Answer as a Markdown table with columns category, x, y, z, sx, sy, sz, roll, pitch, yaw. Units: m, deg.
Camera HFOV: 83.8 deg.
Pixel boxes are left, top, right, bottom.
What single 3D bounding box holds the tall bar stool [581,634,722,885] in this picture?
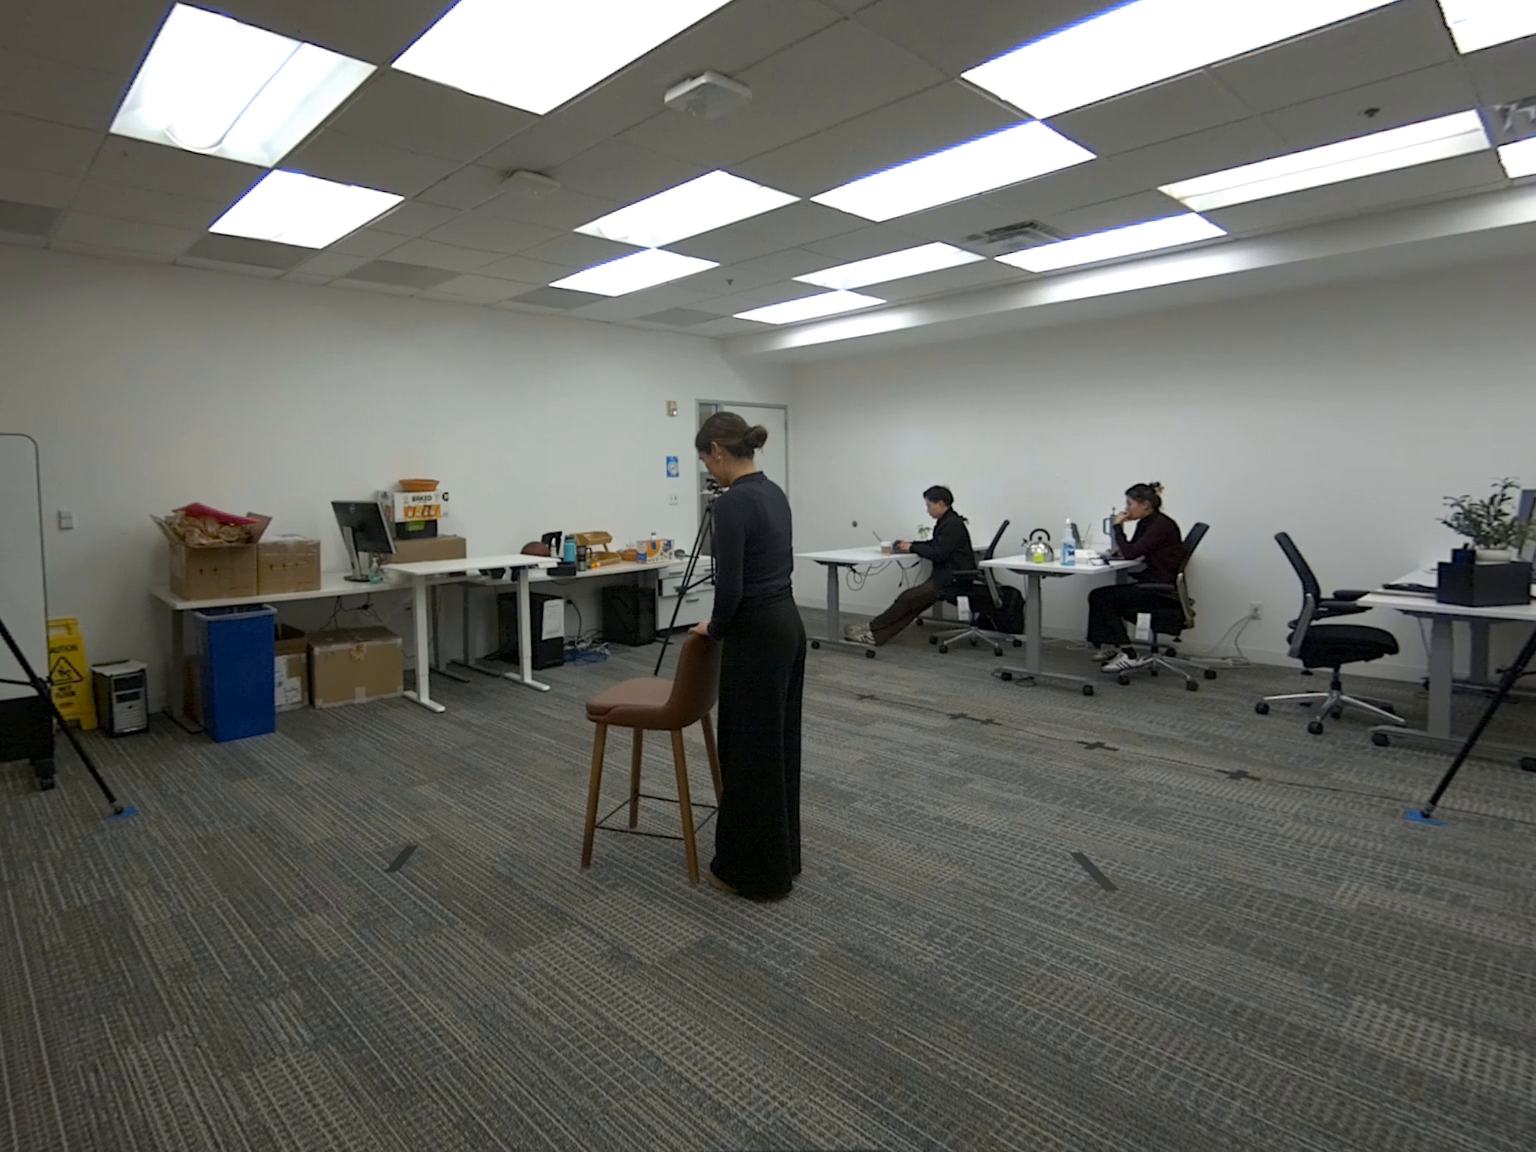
| category | x | y | z | sx | sy | sz | roll | pitch | yaw |
| --- | --- | --- | --- | --- | --- | --- | --- | --- | --- |
| tall bar stool | -0.395 | 0.602 | 3.171 | 0.477 | 0.886 | 0.449 | 3 | 5 | 20 |
